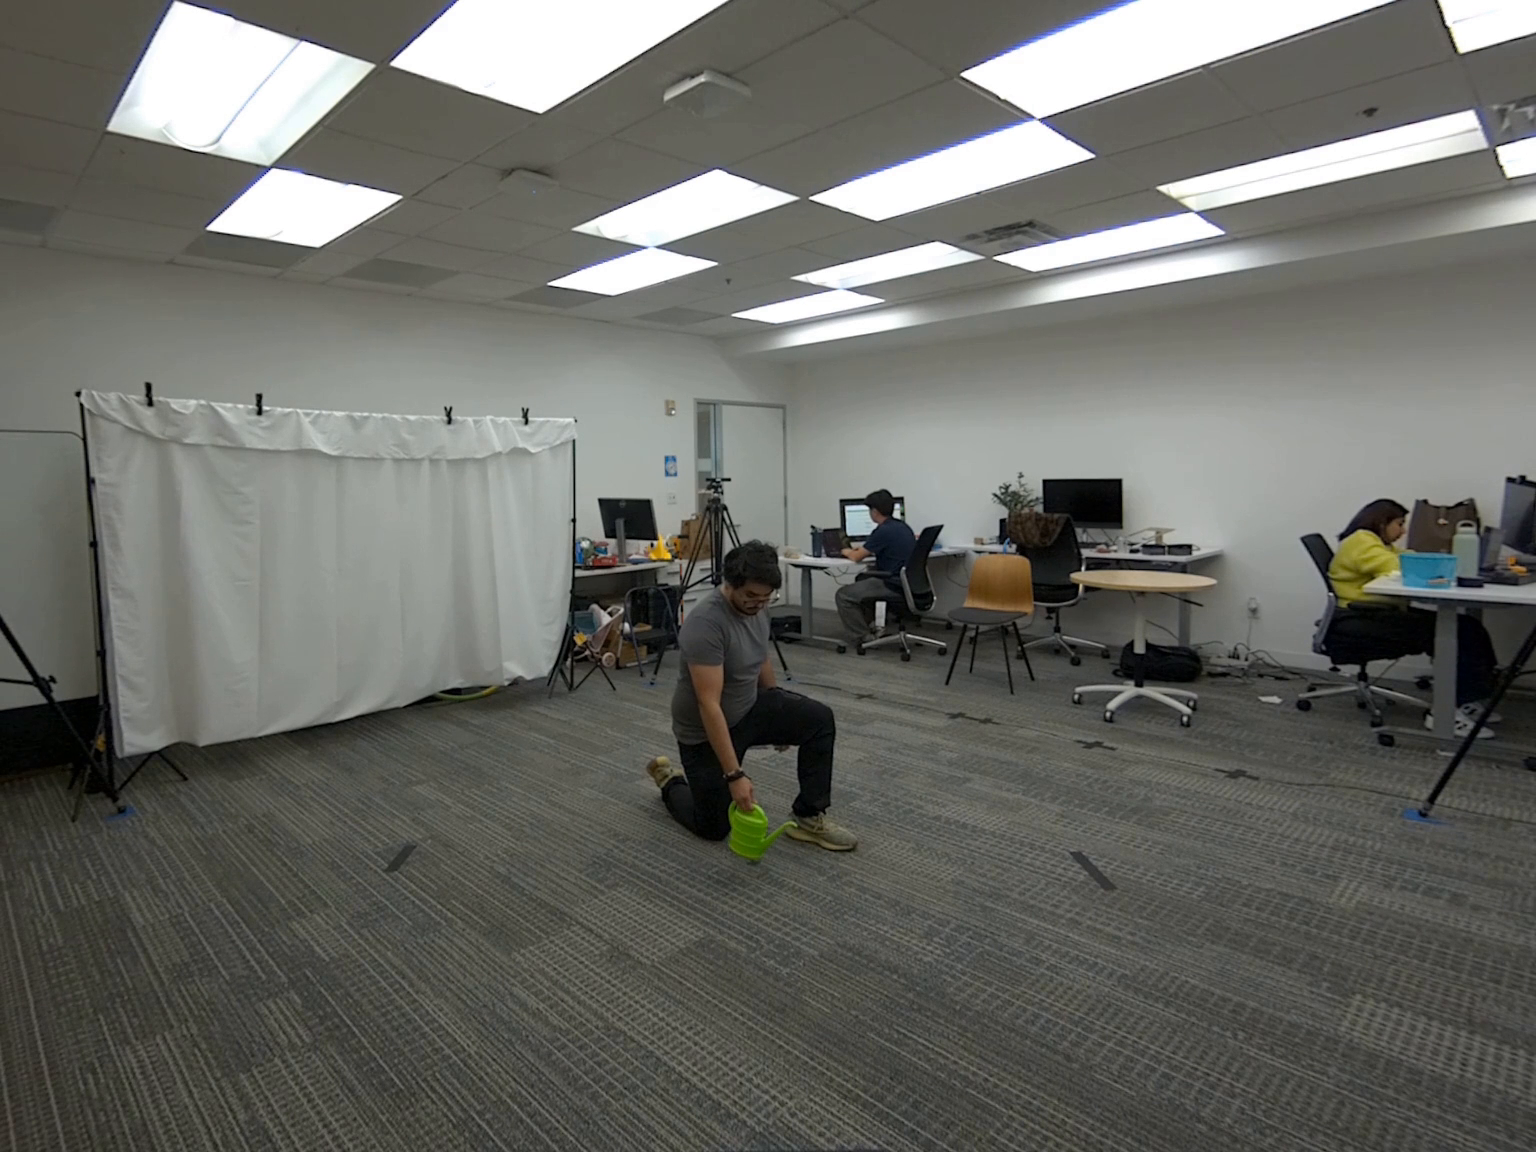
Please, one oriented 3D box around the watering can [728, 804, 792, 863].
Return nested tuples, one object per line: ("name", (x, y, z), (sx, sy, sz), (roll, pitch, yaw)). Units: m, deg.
("watering can", (-0.036, 0.888, 2.931), (0.095, 0.176, 0.288), (2, 10, -38))
